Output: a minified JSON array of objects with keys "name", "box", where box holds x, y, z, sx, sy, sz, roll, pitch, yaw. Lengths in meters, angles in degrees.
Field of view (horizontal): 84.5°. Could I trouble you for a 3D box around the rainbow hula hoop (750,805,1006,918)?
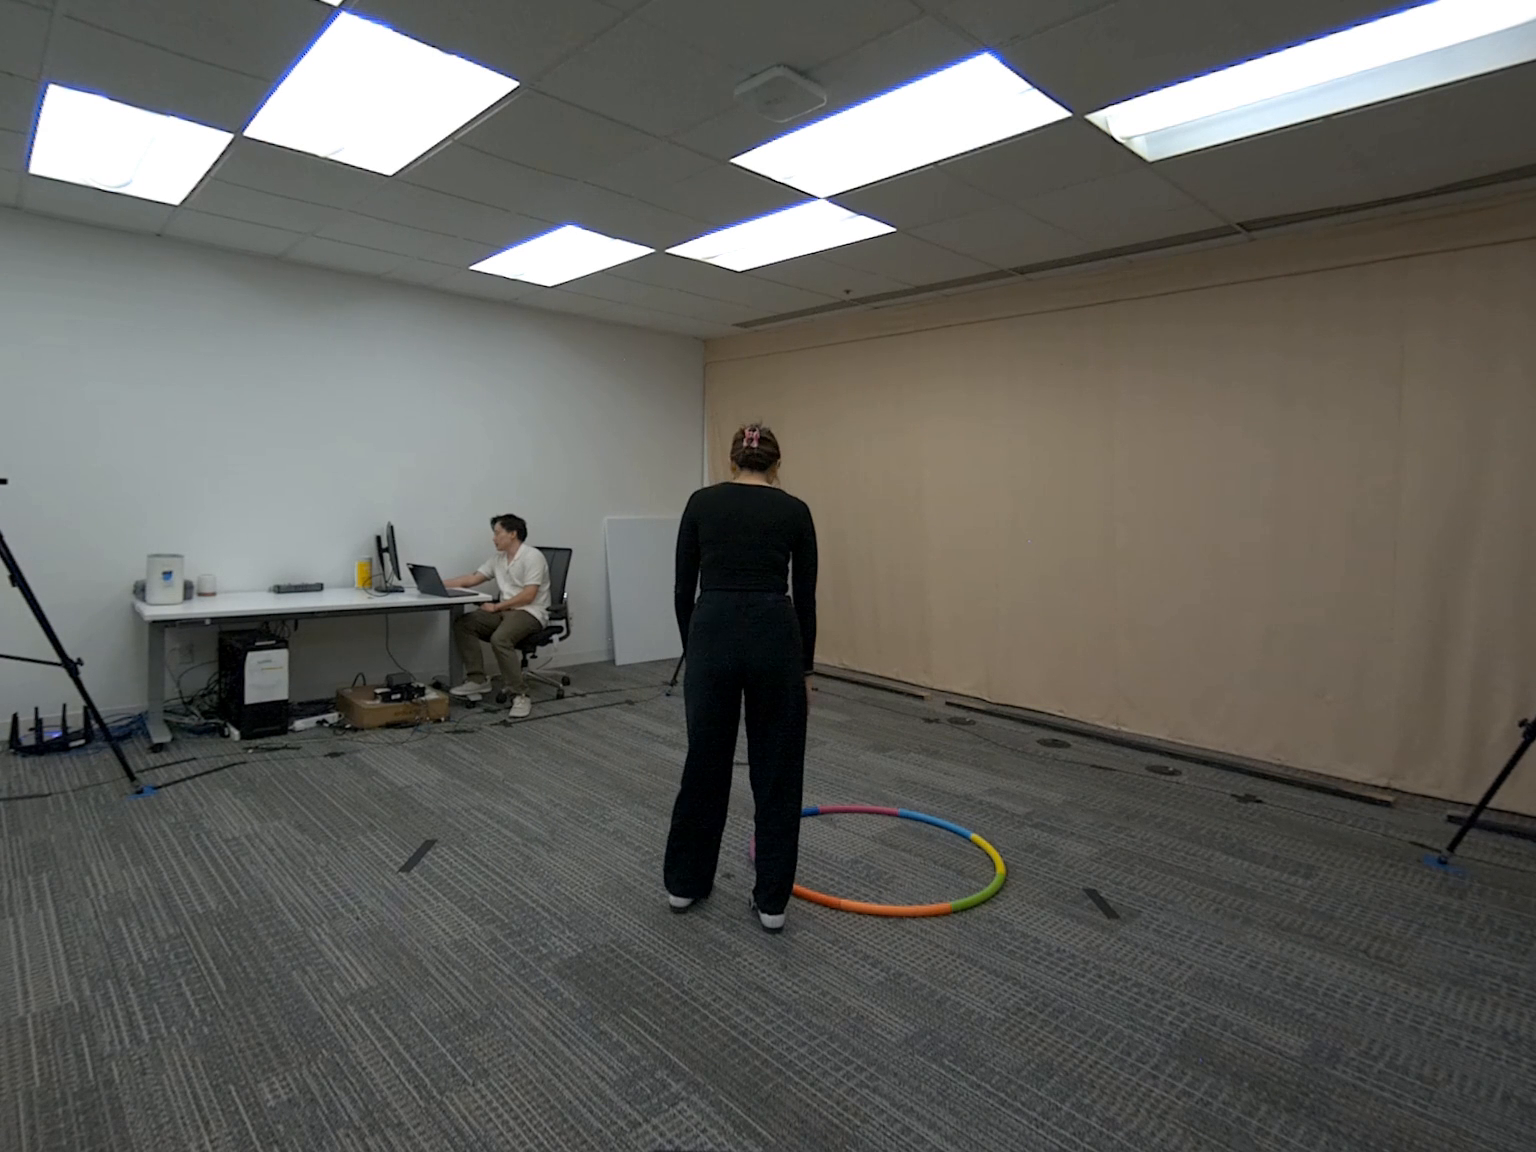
[{"name":"rainbow hula hoop","box":[0.405,1.072,3.307,0.978,0.035,0.982,1,5,-1]}]
